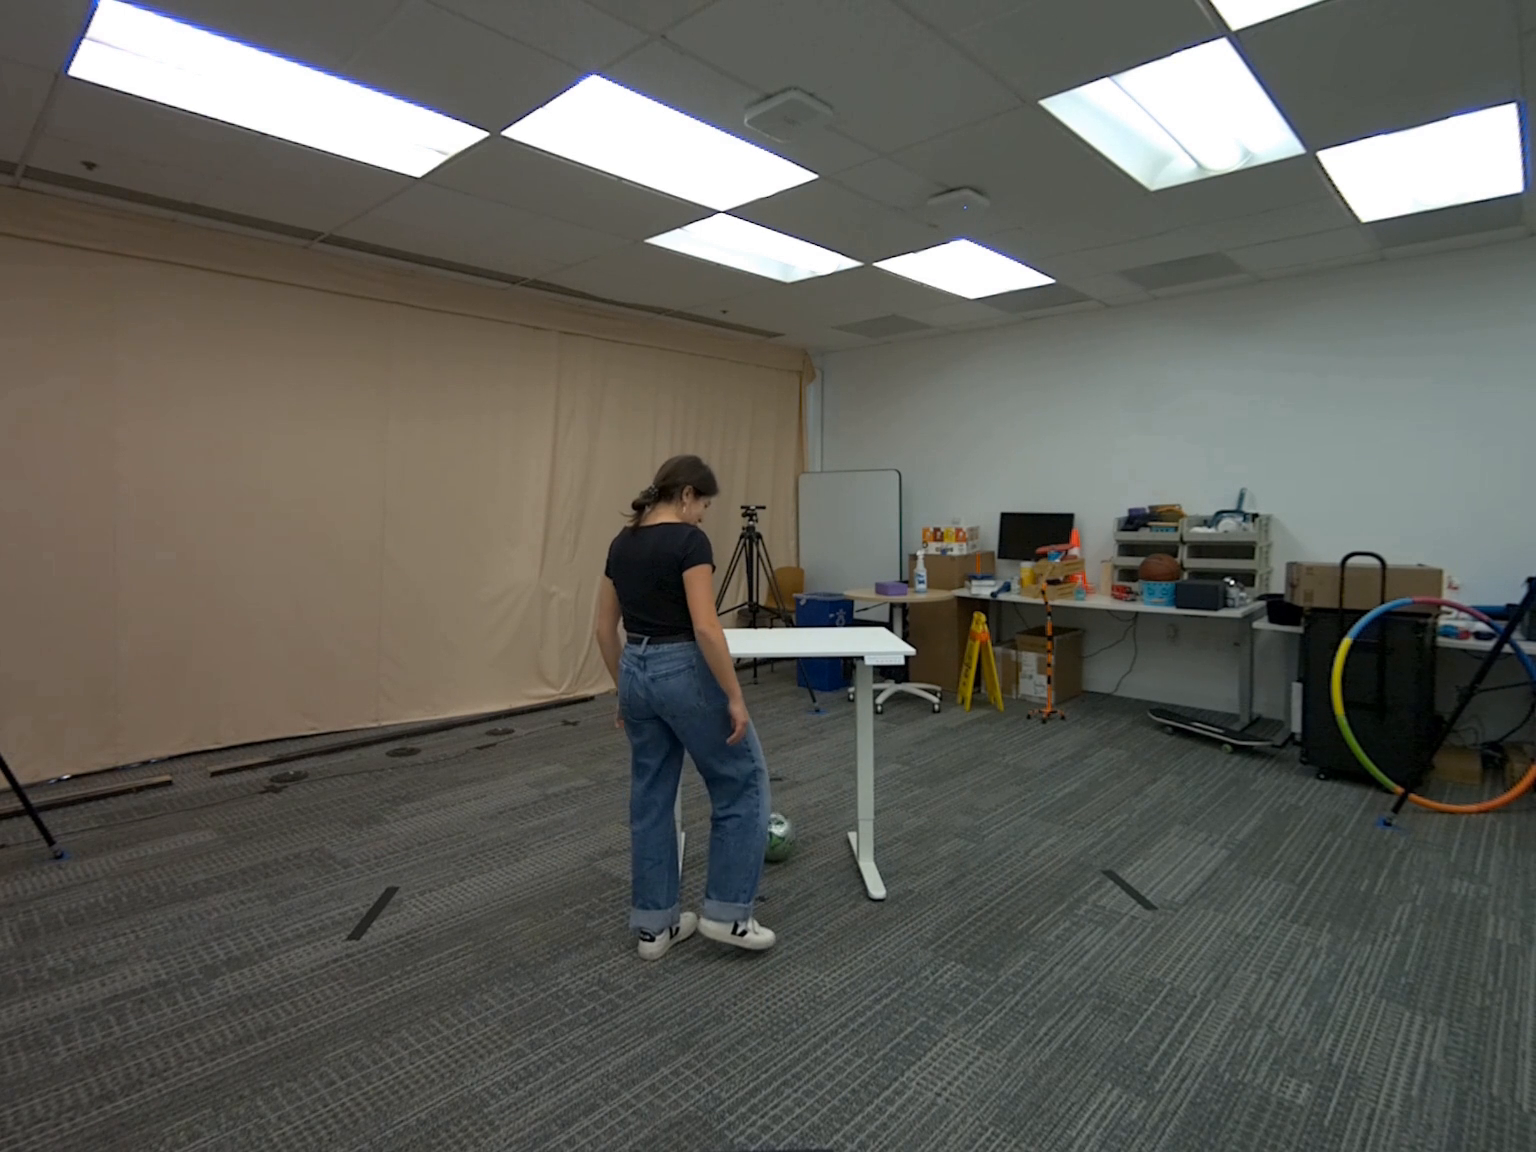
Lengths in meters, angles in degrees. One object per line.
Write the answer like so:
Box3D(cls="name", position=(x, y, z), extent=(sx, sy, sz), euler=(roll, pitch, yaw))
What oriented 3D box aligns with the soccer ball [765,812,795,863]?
Box3D(cls="soccer ball", position=(0.029, 1.026, 3.315), extent=(0.187, 0.187, 0.188), euler=(0, 4, -2))
